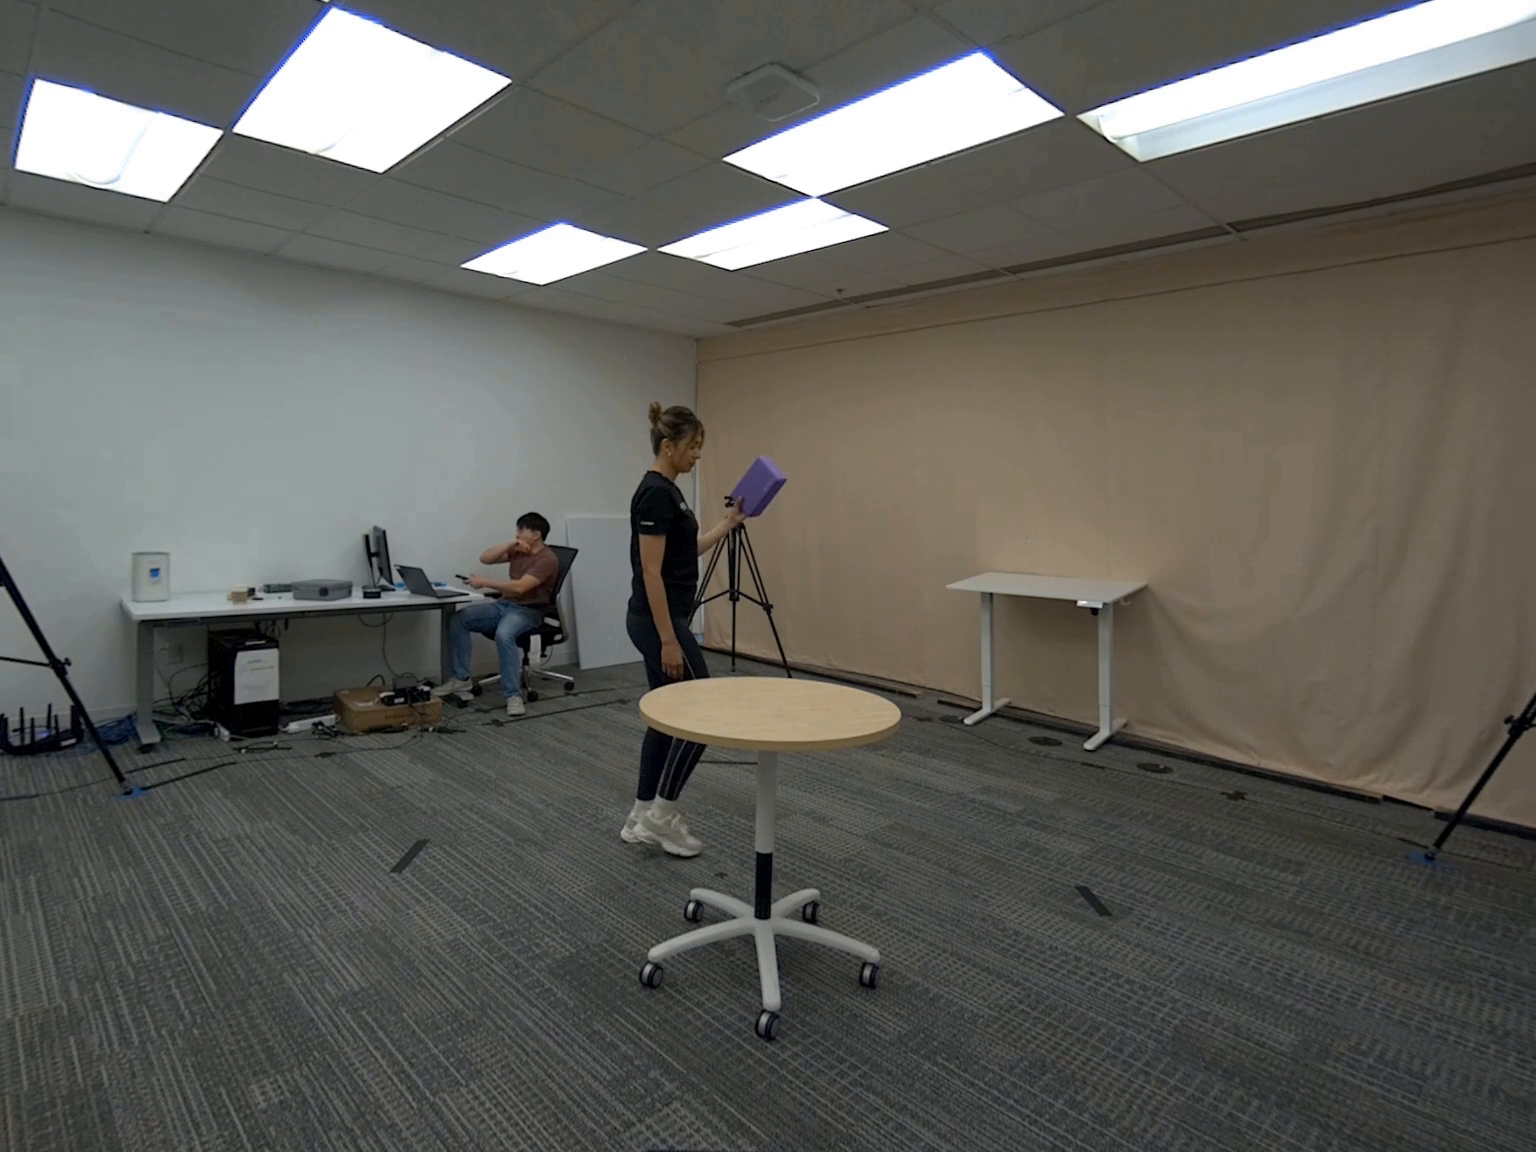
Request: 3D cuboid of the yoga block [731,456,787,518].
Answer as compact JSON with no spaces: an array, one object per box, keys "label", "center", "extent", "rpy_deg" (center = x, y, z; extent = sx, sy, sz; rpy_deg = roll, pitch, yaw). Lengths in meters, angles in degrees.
[{"label":"yoga block","center":[-0.047,-0.373,3.548],"extent":[0.075,0.229,0.152],"rpy_deg":[-7,53,-51]}]
